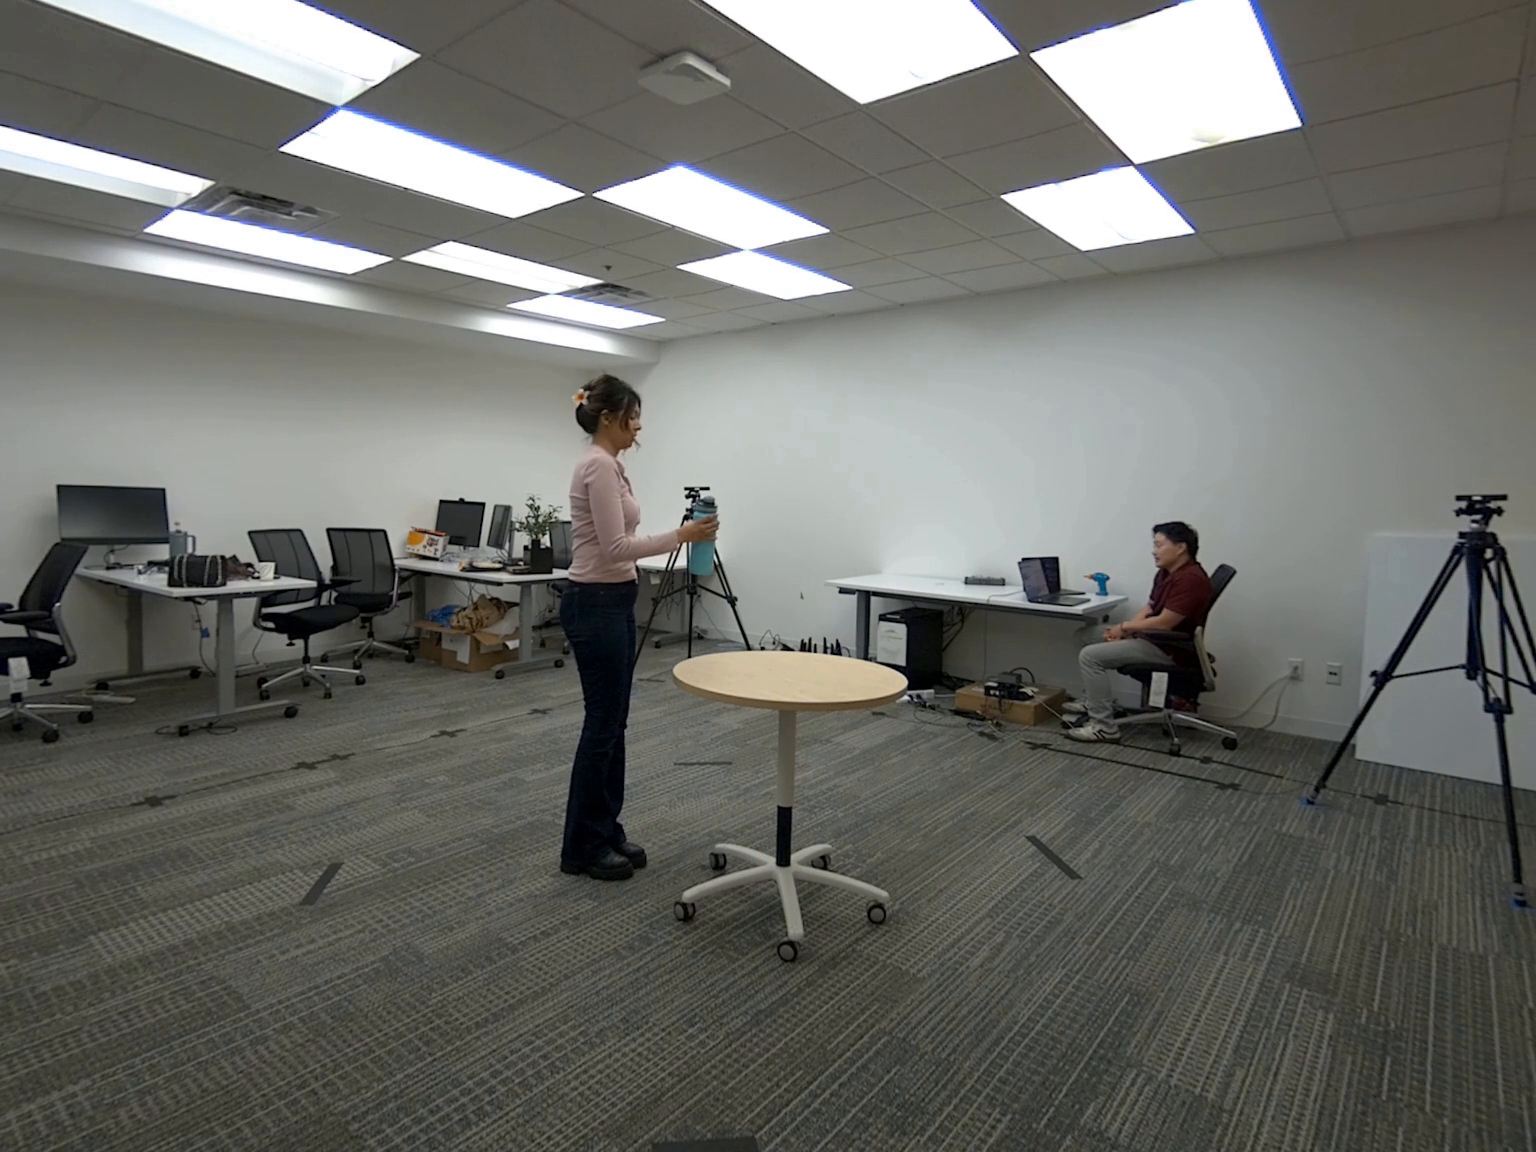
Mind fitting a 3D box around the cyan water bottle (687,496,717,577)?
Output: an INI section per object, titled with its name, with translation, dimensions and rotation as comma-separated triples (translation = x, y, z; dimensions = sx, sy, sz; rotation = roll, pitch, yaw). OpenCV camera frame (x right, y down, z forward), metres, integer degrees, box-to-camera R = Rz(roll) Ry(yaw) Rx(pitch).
[cyan water bottle]
translation = -0.249, -0.152, 3.084
dimensions = 0.092, 0.281, 0.093
rotation = 5, 10, -3
